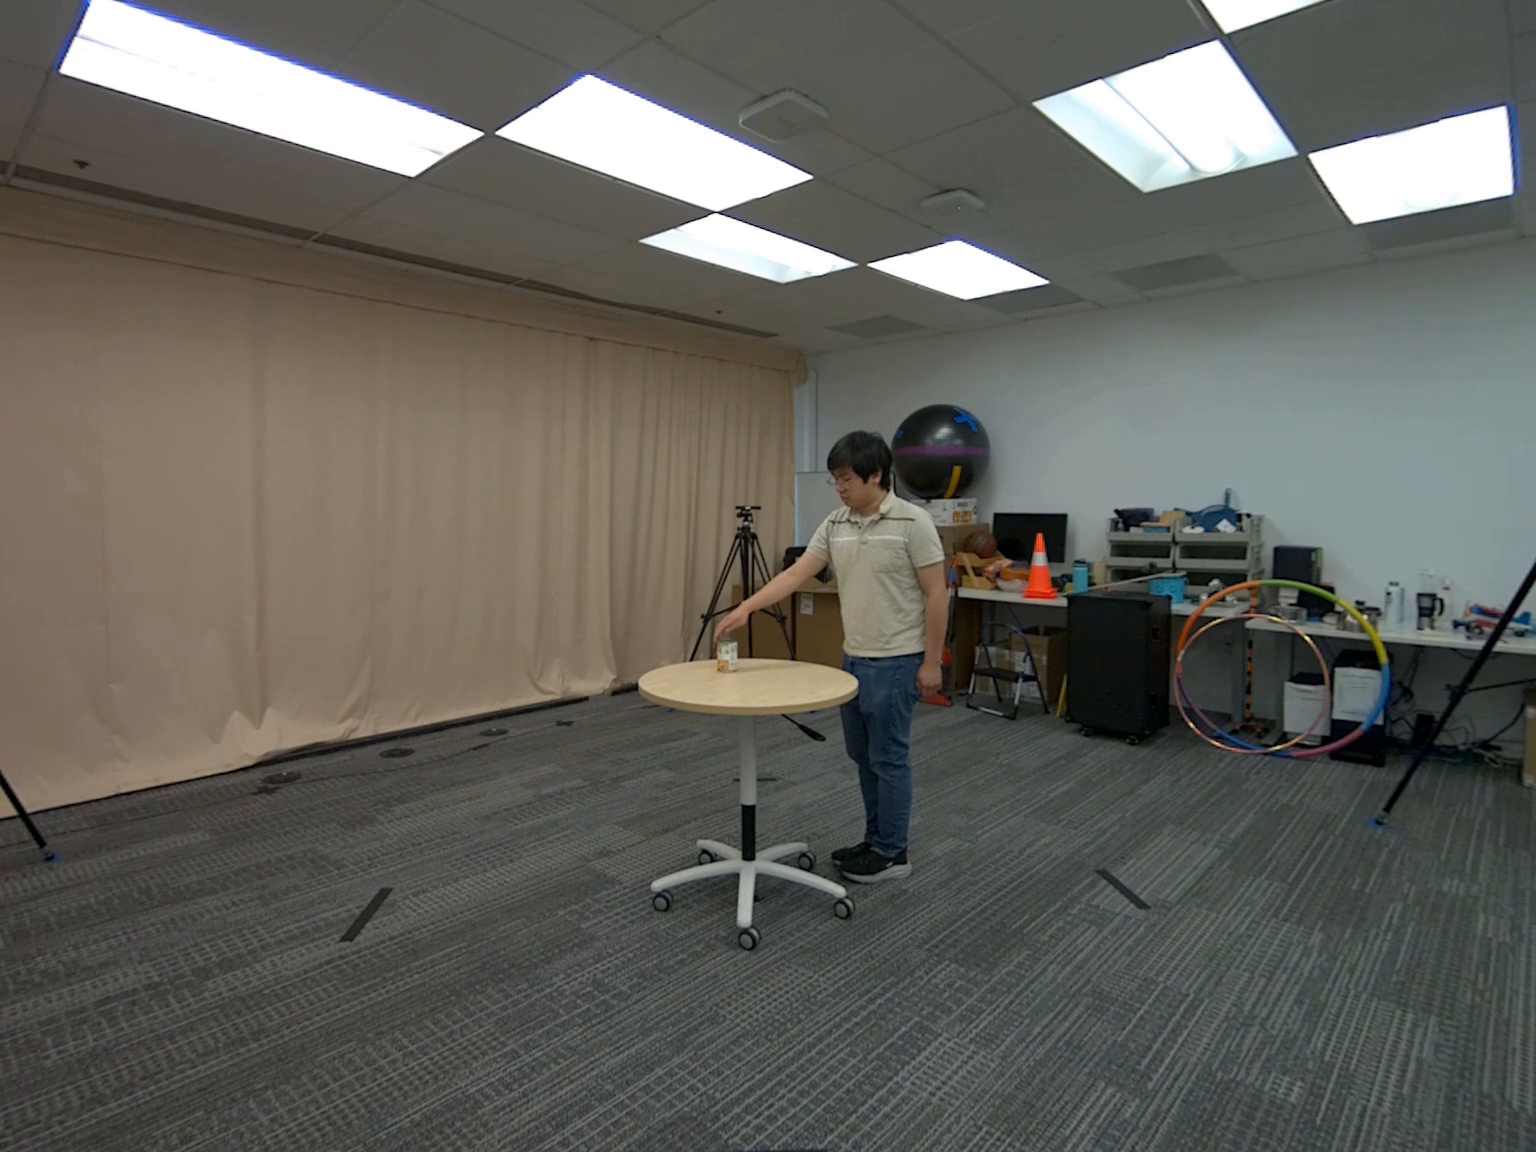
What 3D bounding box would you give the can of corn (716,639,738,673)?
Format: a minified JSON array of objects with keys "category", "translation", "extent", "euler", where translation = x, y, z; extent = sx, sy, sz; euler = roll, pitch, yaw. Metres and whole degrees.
[{"category":"can of corn","translation":[-0.148,0.298,3.102],"extent":[0.074,0.111,0.074],"euler":[1,2,-2]}]
